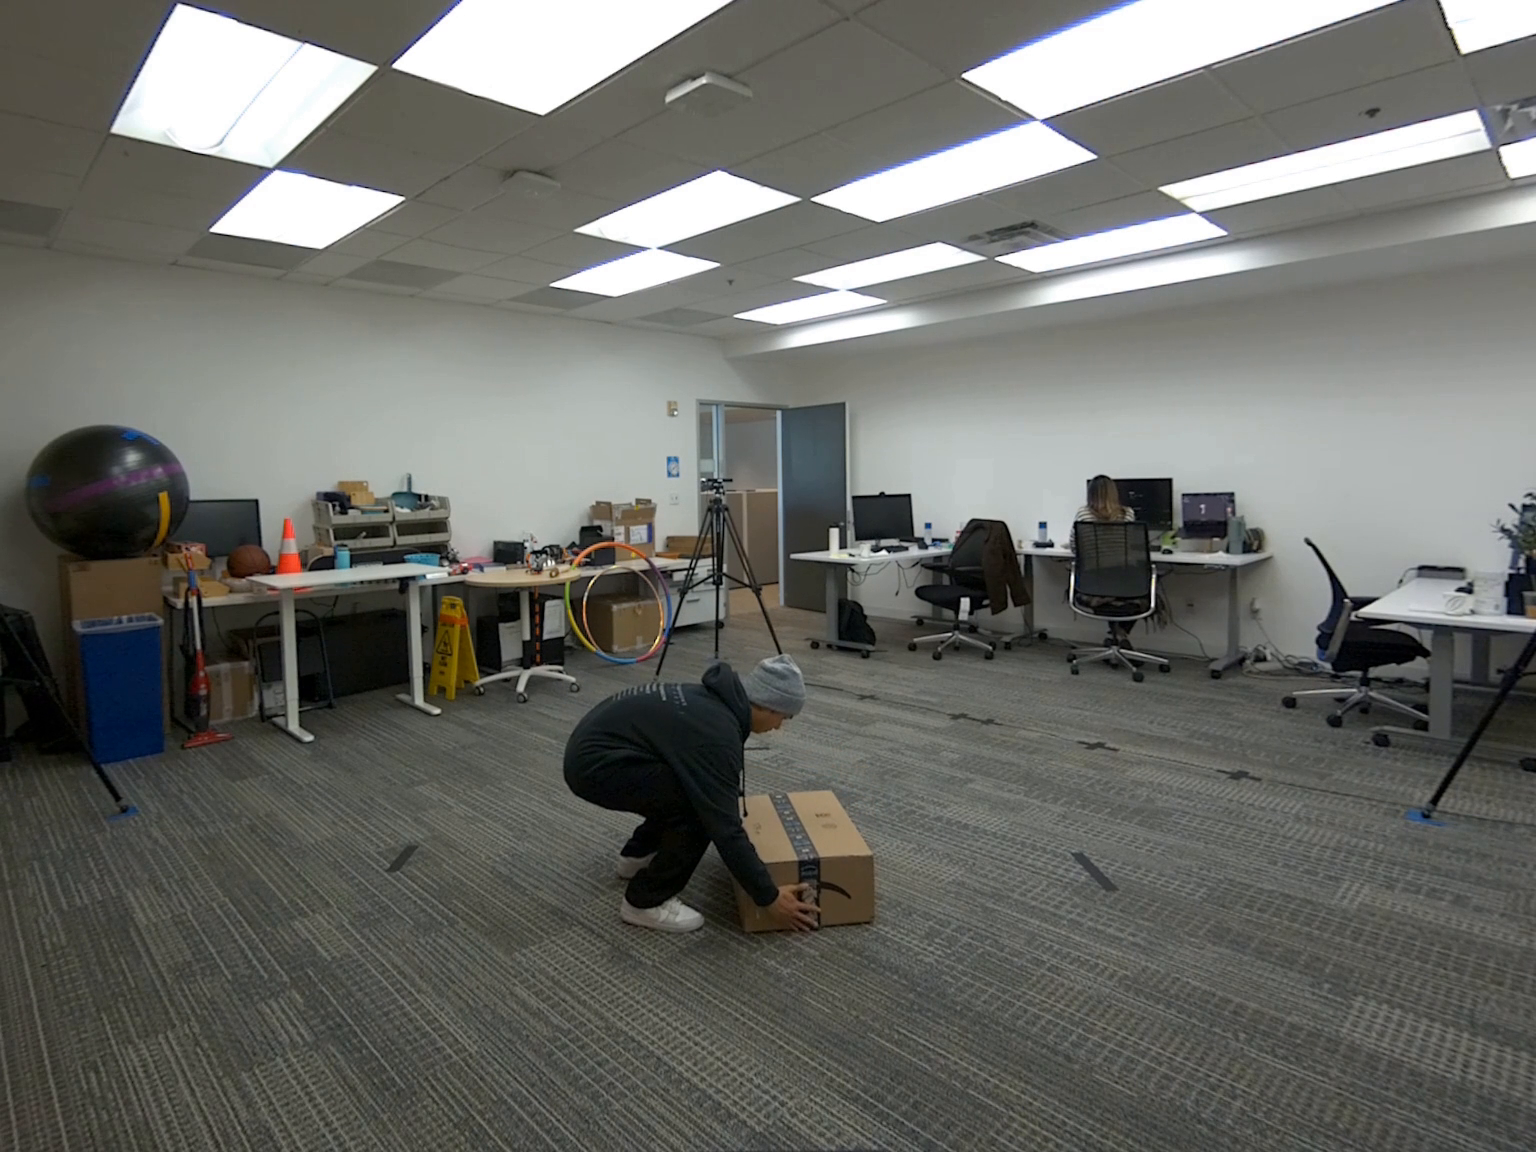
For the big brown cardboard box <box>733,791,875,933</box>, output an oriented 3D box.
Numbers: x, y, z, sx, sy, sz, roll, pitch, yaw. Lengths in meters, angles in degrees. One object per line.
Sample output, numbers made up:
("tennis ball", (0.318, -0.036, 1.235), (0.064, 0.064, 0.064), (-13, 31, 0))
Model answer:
("big brown cardboard box", (0.088, 0.950, 2.917), (0.415, 0.232, 0.596), (-3, 7, -8))
